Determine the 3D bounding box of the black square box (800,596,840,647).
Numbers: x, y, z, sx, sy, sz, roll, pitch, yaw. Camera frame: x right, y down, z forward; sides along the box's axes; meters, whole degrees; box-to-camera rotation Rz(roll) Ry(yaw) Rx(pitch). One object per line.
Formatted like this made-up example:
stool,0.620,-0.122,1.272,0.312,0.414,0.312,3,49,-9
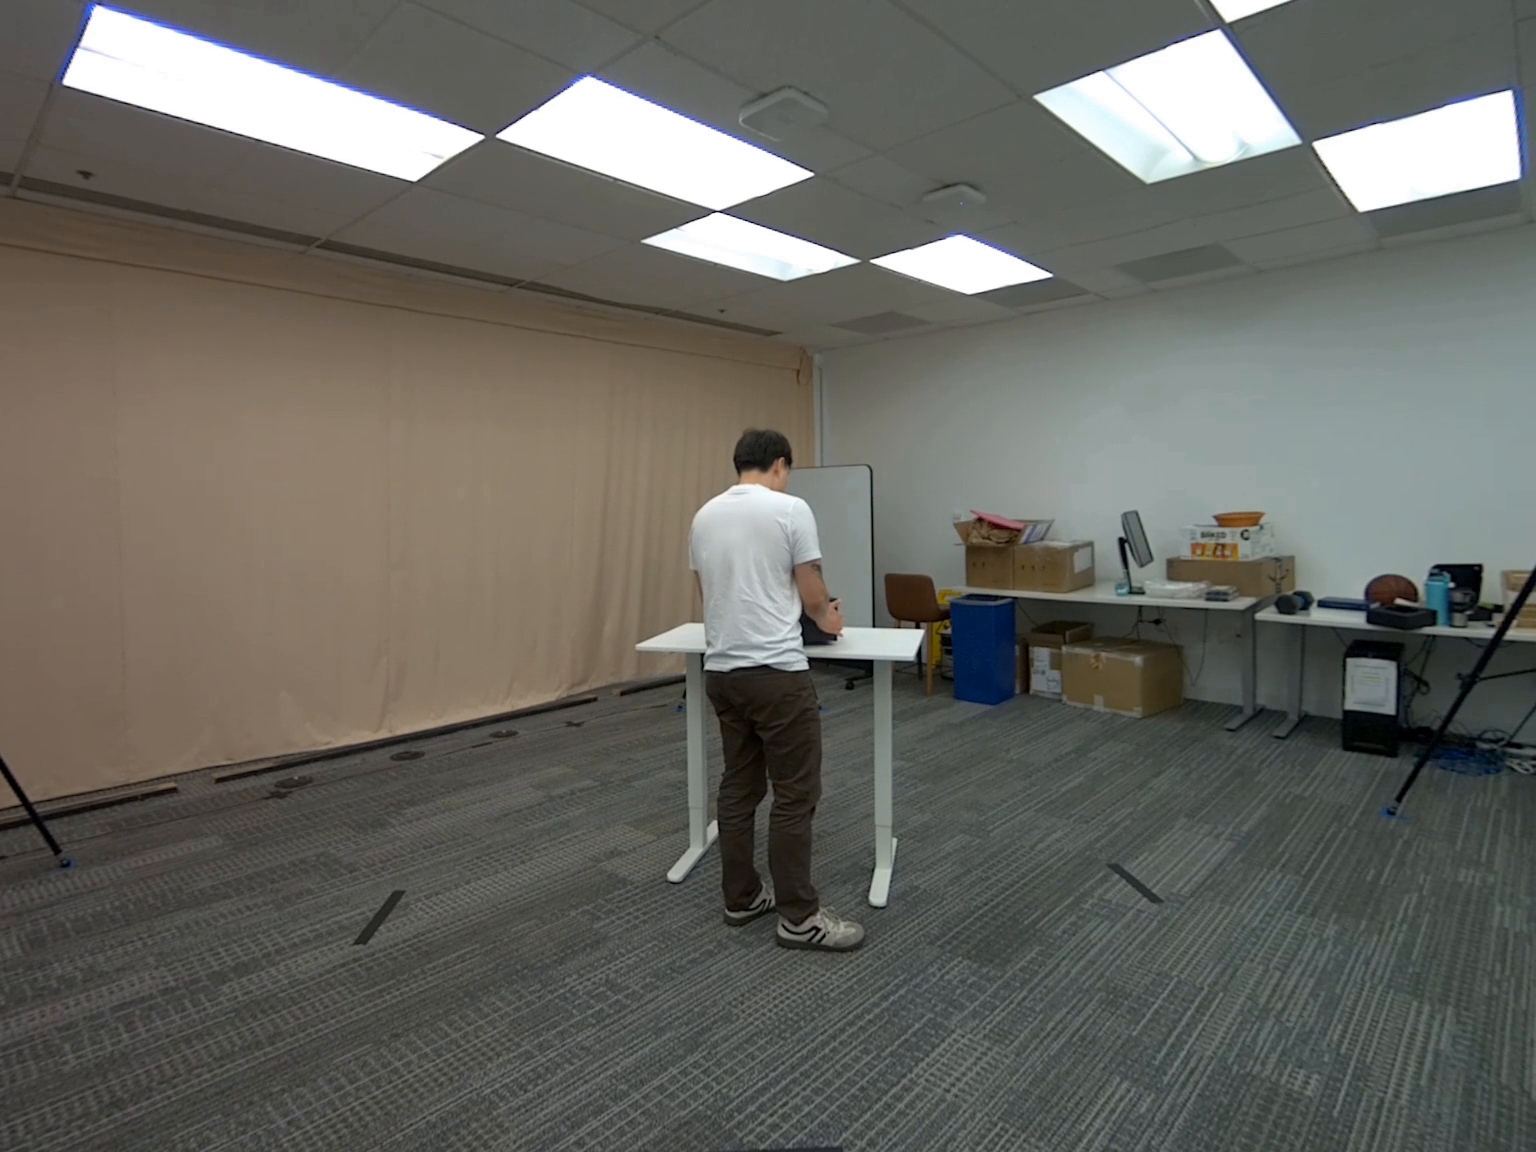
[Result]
black square box,0.140,0.149,3.127,0.215,0.155,0.230,-1,4,-7
